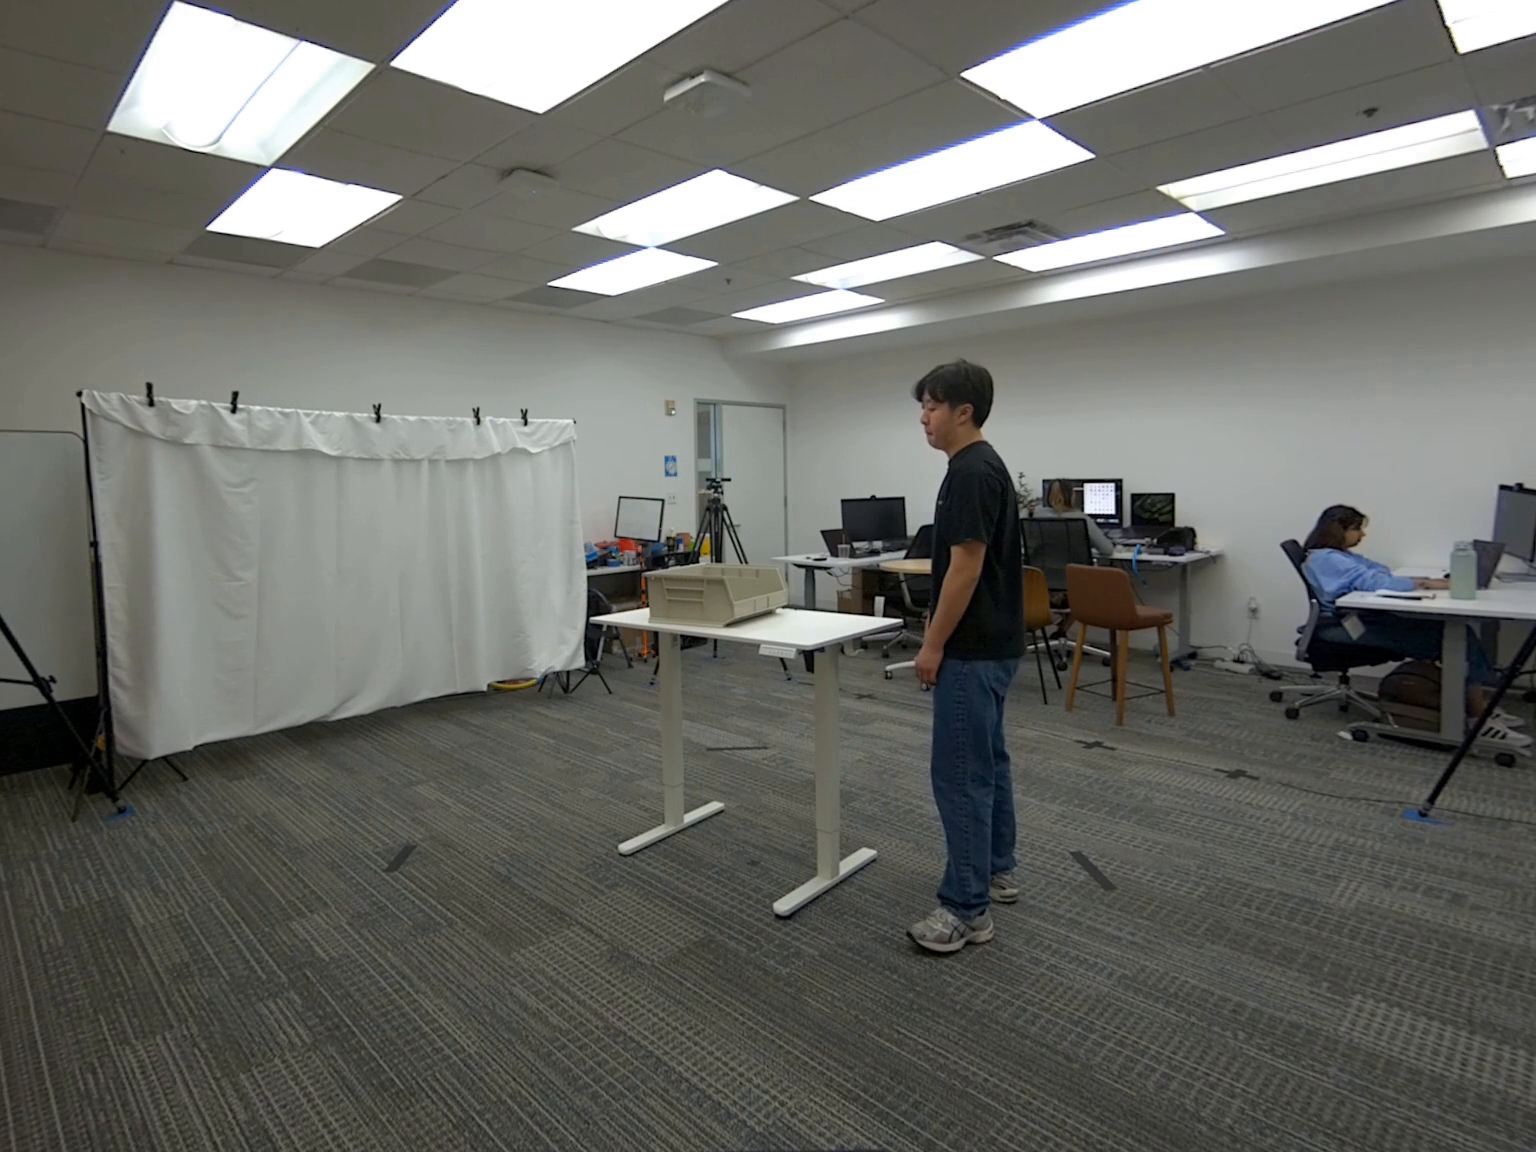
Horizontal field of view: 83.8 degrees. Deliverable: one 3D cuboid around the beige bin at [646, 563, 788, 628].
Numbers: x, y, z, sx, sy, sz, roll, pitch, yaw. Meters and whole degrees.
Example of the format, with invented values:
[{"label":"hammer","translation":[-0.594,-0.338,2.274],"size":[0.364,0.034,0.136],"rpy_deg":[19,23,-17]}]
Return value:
[{"label":"beige bin","translation":[-0.185,0.070,3.165],"size":[0.387,0.188,0.413],"rpy_deg":[1,6,29]}]
